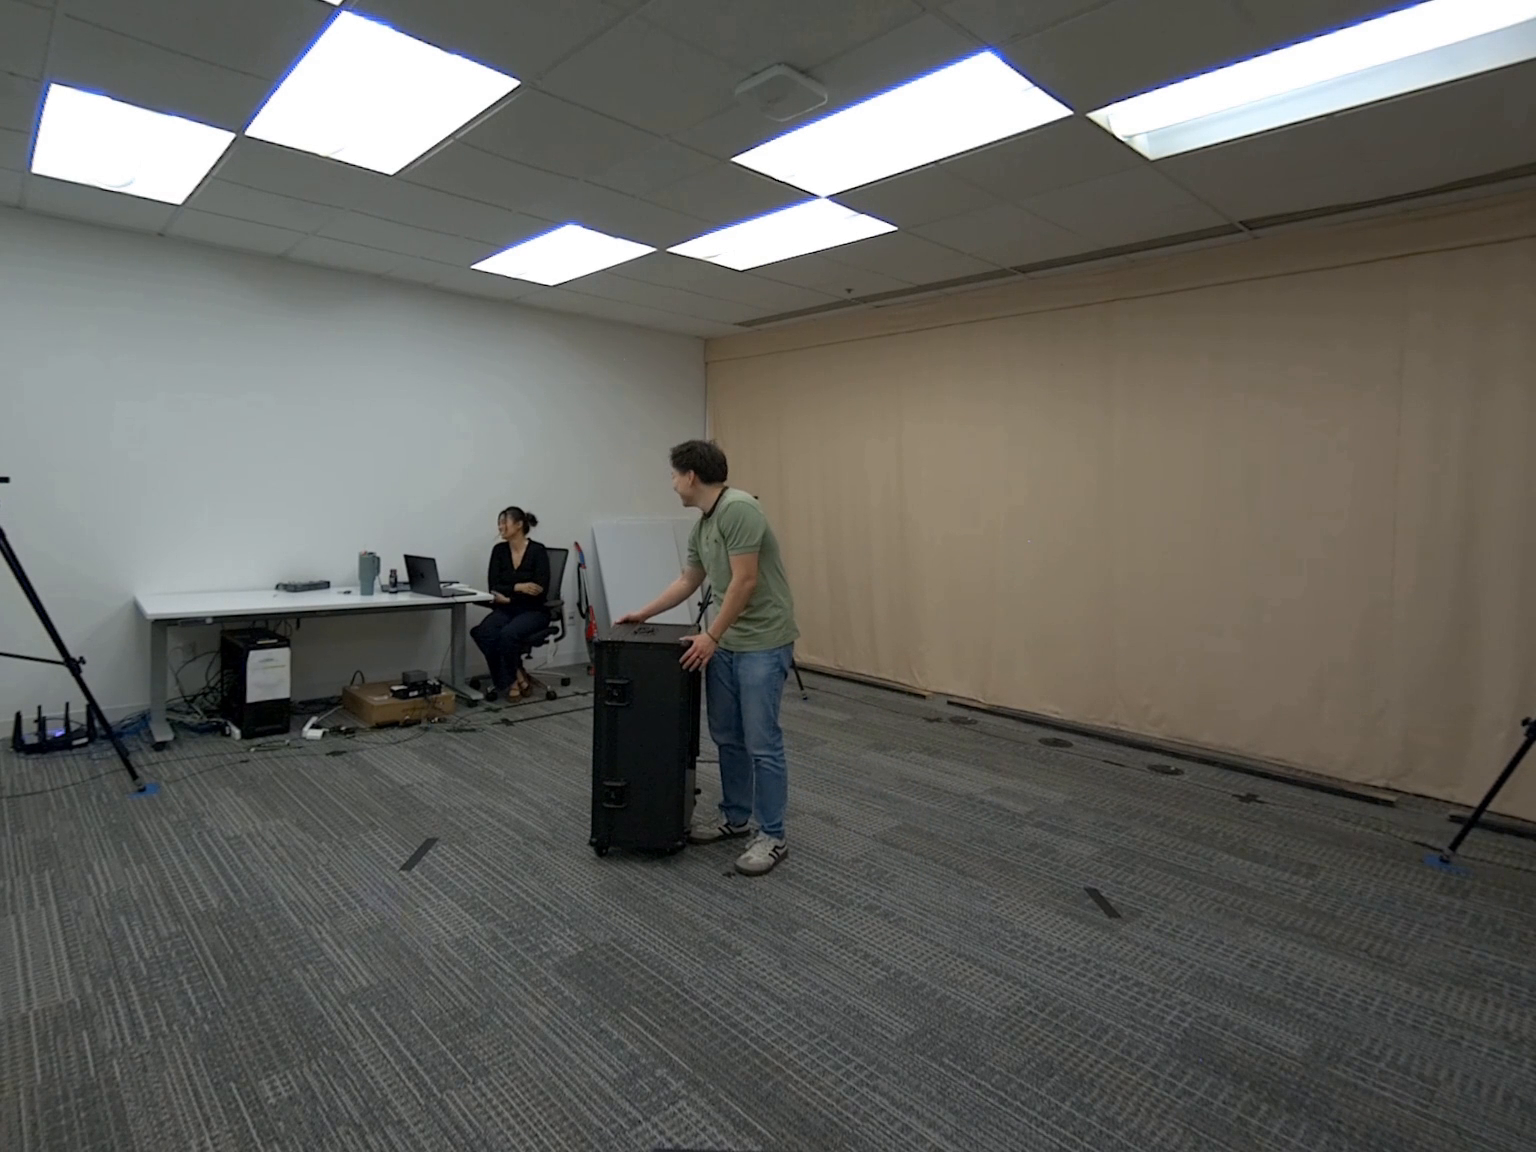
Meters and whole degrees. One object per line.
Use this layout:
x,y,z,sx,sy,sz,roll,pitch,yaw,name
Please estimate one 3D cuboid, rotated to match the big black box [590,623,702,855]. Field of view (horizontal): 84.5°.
-0.473,0.644,3.374,0.397,0.859,0.521,3,3,3,big black box
